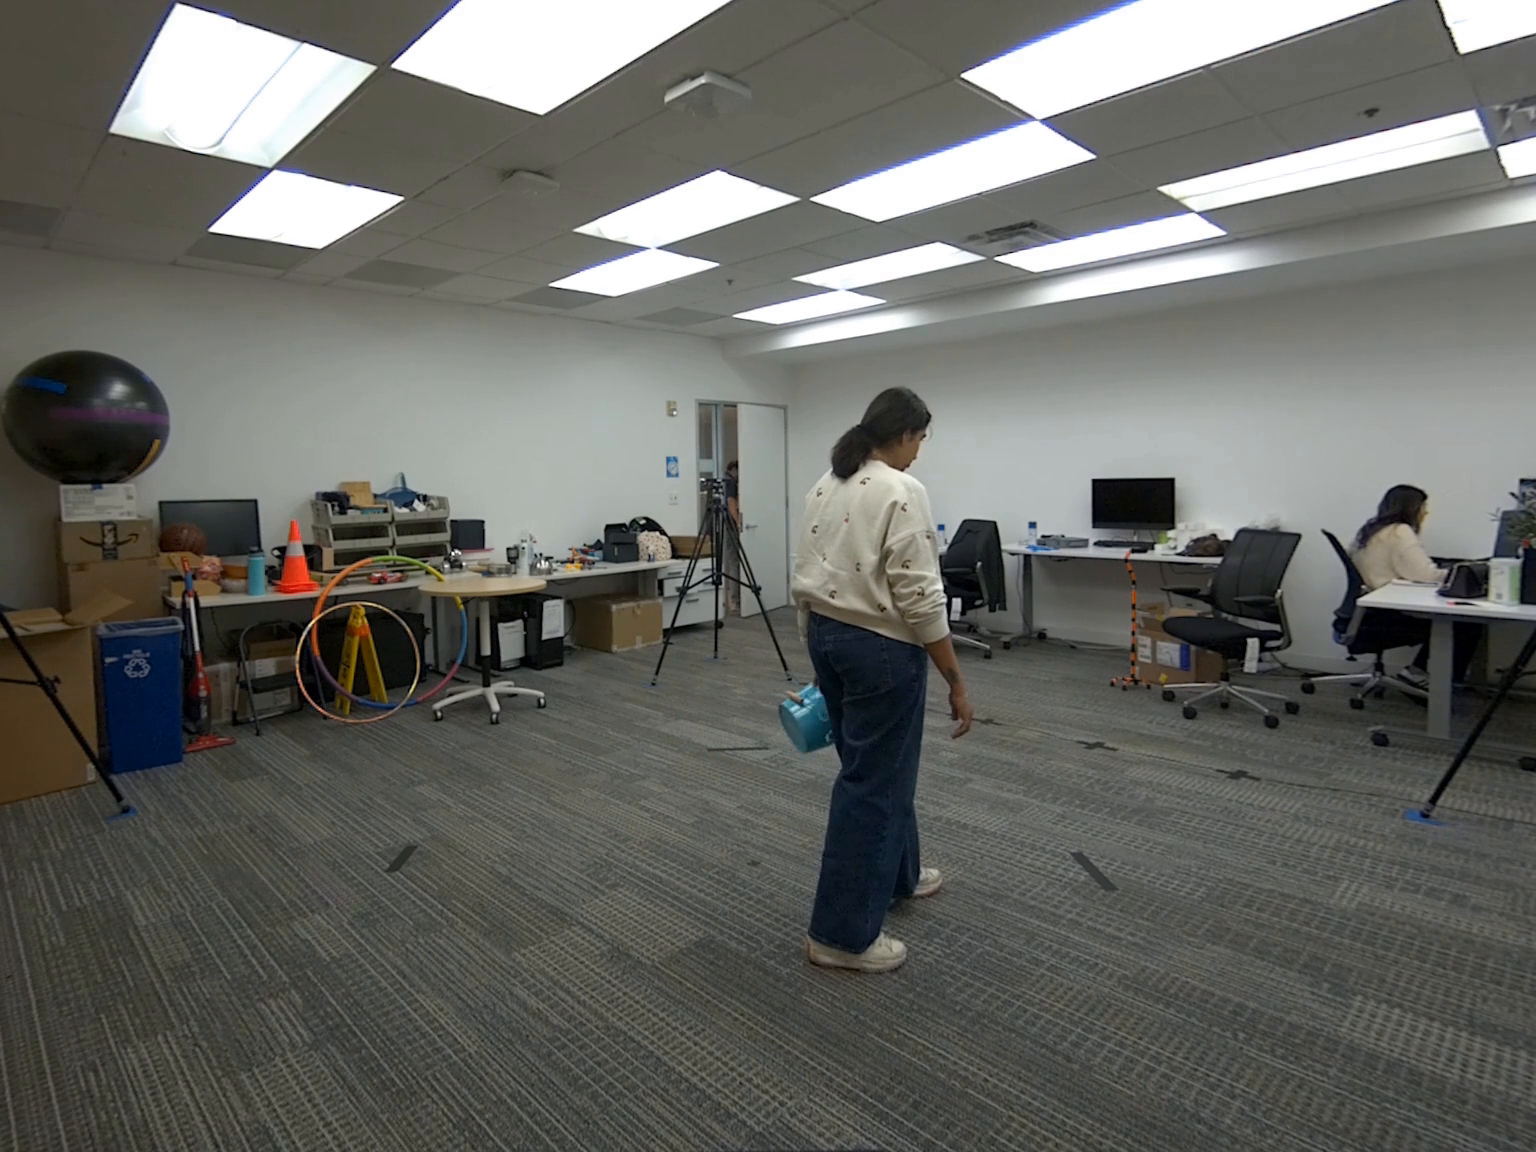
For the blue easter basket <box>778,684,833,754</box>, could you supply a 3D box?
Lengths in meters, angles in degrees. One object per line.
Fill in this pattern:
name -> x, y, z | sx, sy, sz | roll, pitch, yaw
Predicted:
blue easter basket -> 0.159, 0.465, 2.874 | 0.155, 0.241, 0.248 | -21, 10, -13
